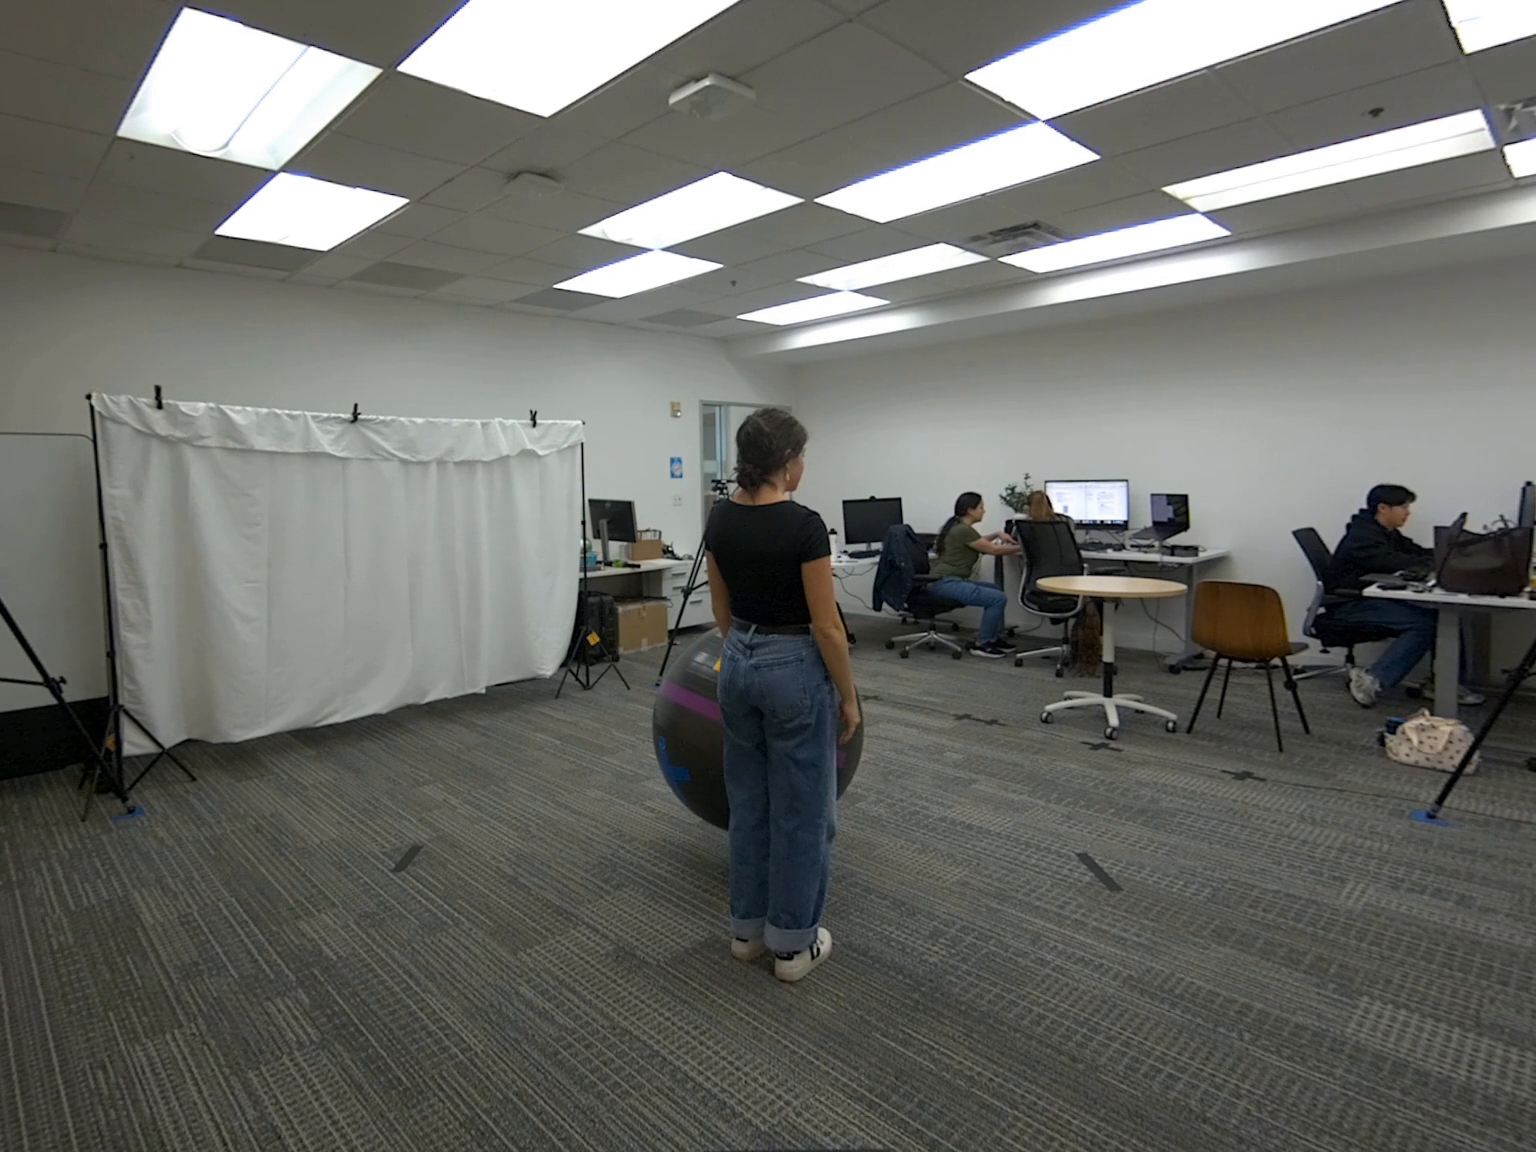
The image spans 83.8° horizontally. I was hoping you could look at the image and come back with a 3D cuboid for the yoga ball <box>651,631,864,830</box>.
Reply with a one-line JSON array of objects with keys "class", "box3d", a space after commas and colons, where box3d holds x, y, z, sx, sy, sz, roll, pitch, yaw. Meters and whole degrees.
[{"class": "yoga ball", "box3d": [-0.040, 0.538, 3.085, 0.757, 0.755, 0.762, -1, 5, -2]}]
